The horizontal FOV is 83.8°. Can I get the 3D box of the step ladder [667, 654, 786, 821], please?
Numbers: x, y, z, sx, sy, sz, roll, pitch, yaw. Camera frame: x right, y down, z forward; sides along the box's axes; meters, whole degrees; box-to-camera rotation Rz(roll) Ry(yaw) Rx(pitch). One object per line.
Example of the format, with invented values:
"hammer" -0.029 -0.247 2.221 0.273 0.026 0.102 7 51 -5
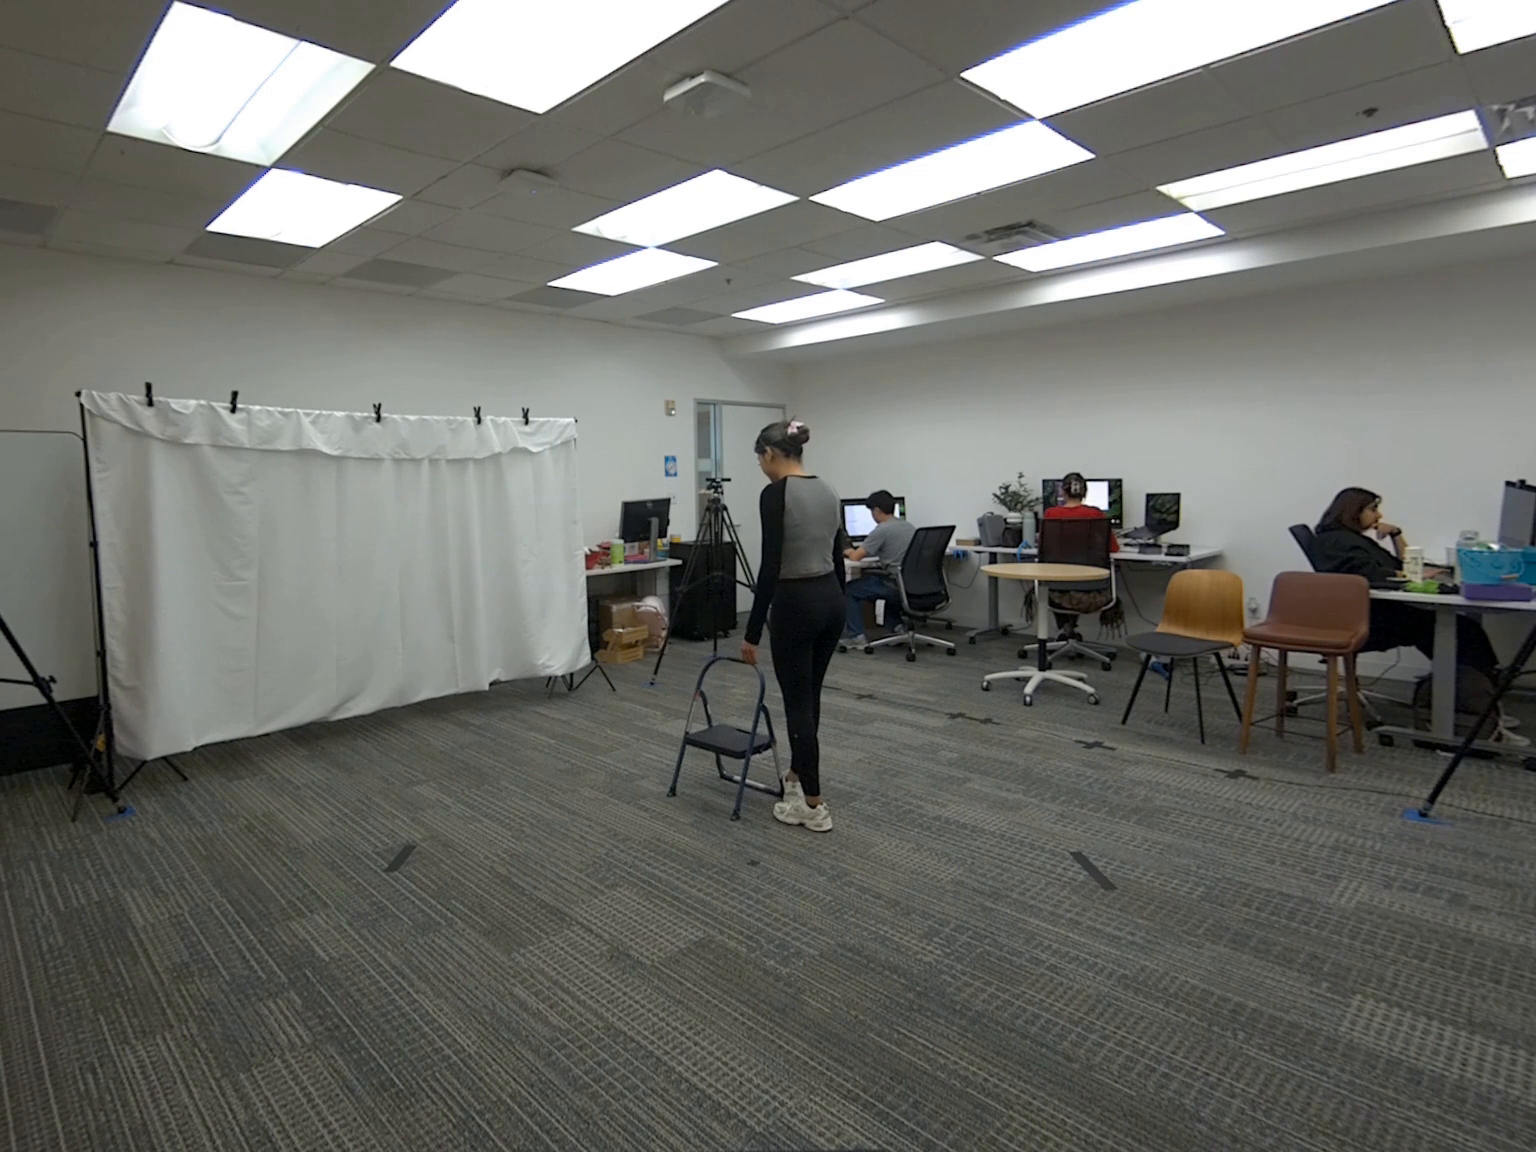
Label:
"step ladder" -0.186 0.670 3.745 0.444 0.604 0.340 3 6 44
